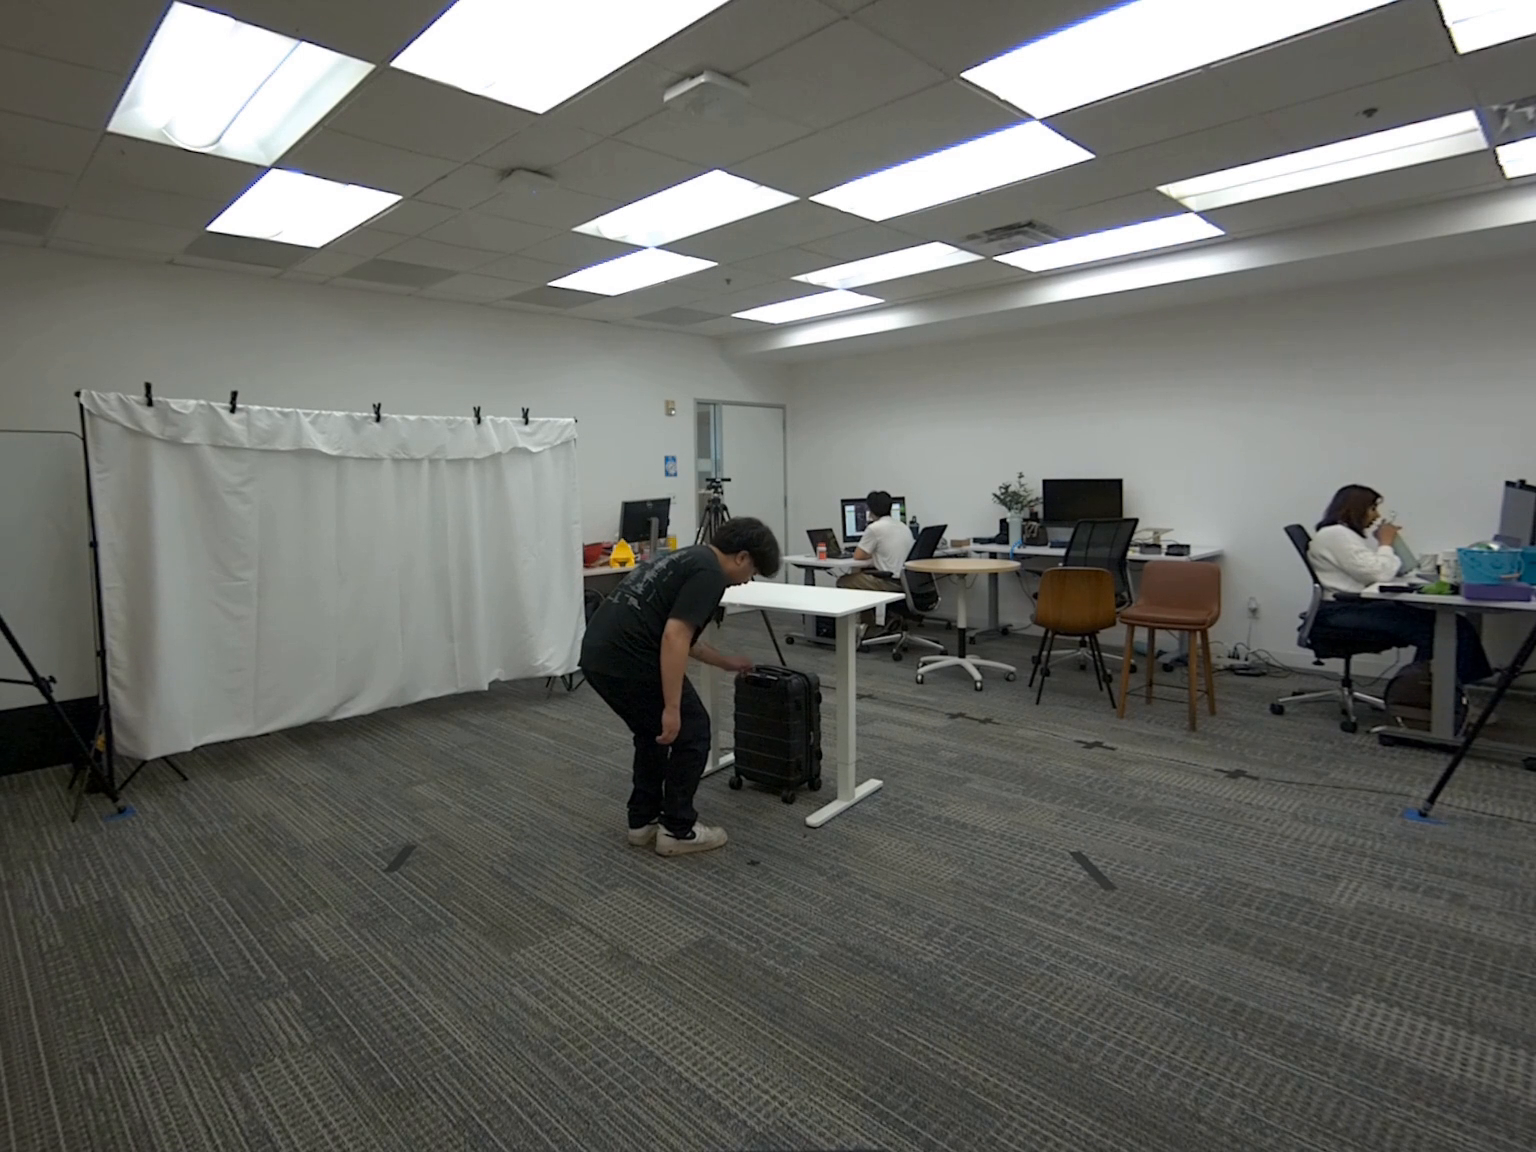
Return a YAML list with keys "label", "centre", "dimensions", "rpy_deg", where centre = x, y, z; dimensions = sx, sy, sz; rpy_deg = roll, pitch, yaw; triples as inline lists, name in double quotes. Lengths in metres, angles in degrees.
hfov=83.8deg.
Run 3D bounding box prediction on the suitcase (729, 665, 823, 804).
- label: "suitcase"
  centre: [0.038, 0.684, 3.853]
  dimensions: [0.386, 0.548, 0.241]
  rpy_deg: [2, 3, 39]
